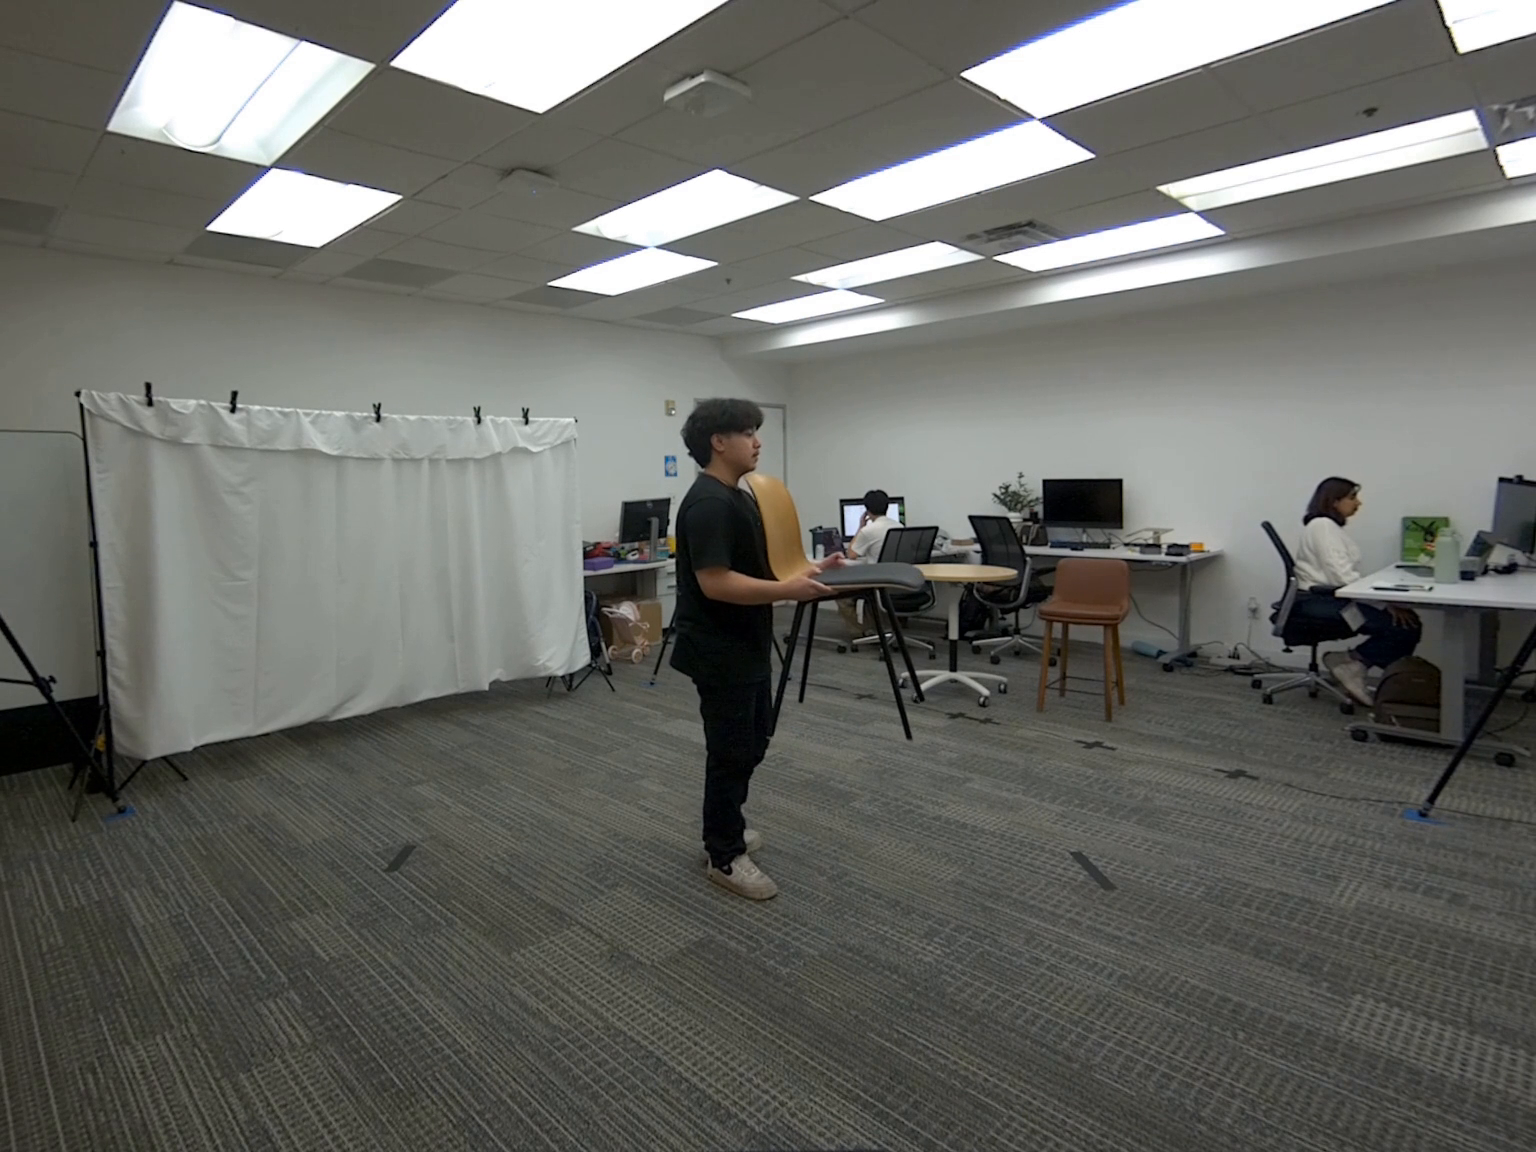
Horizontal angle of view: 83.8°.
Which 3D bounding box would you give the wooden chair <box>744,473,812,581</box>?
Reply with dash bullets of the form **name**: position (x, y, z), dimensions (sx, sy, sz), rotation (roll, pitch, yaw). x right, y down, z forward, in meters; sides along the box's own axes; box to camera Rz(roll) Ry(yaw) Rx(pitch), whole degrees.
- **wooden chair**: position (0.240, 0.064, 2.835), dimensions (0.531, 0.877, 0.471), rotation (-8, 1, 17)
